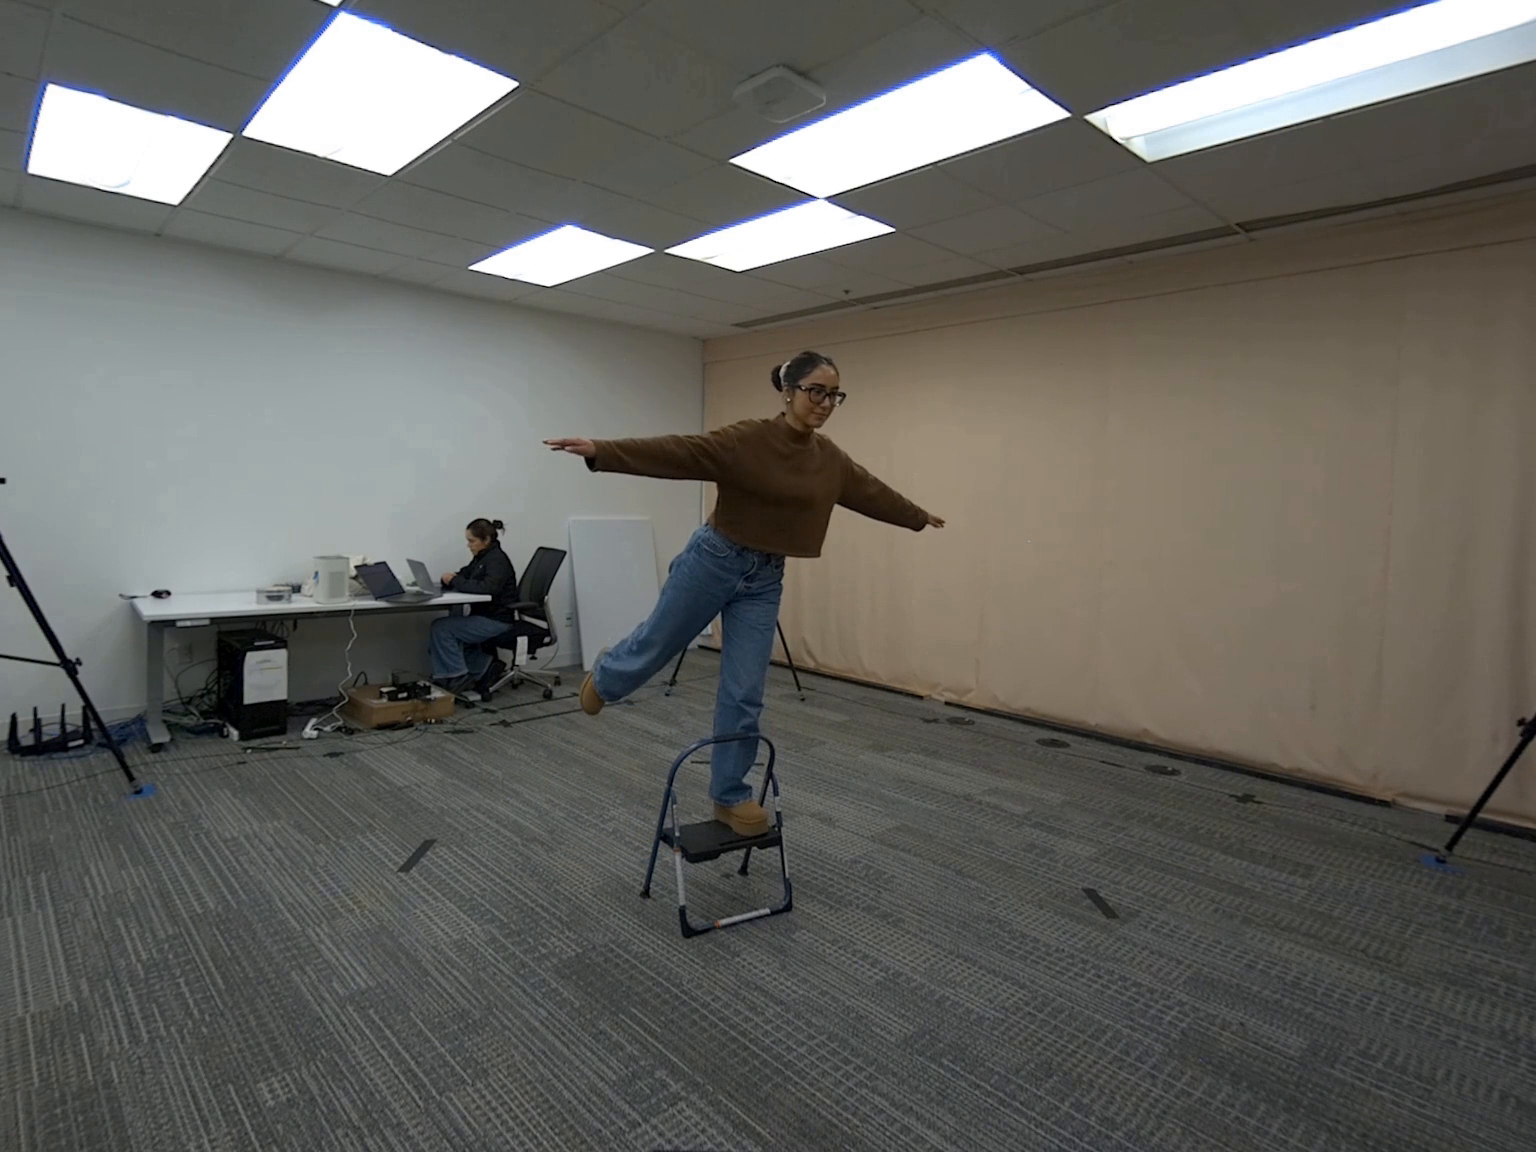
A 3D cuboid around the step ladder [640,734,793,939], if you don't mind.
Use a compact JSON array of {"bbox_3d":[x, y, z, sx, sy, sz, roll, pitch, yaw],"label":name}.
[{"bbox_3d":[-0.177,0.826,2.879,0.421,0.604,0.357,-1,4,-32],"label":"step ladder"}]
